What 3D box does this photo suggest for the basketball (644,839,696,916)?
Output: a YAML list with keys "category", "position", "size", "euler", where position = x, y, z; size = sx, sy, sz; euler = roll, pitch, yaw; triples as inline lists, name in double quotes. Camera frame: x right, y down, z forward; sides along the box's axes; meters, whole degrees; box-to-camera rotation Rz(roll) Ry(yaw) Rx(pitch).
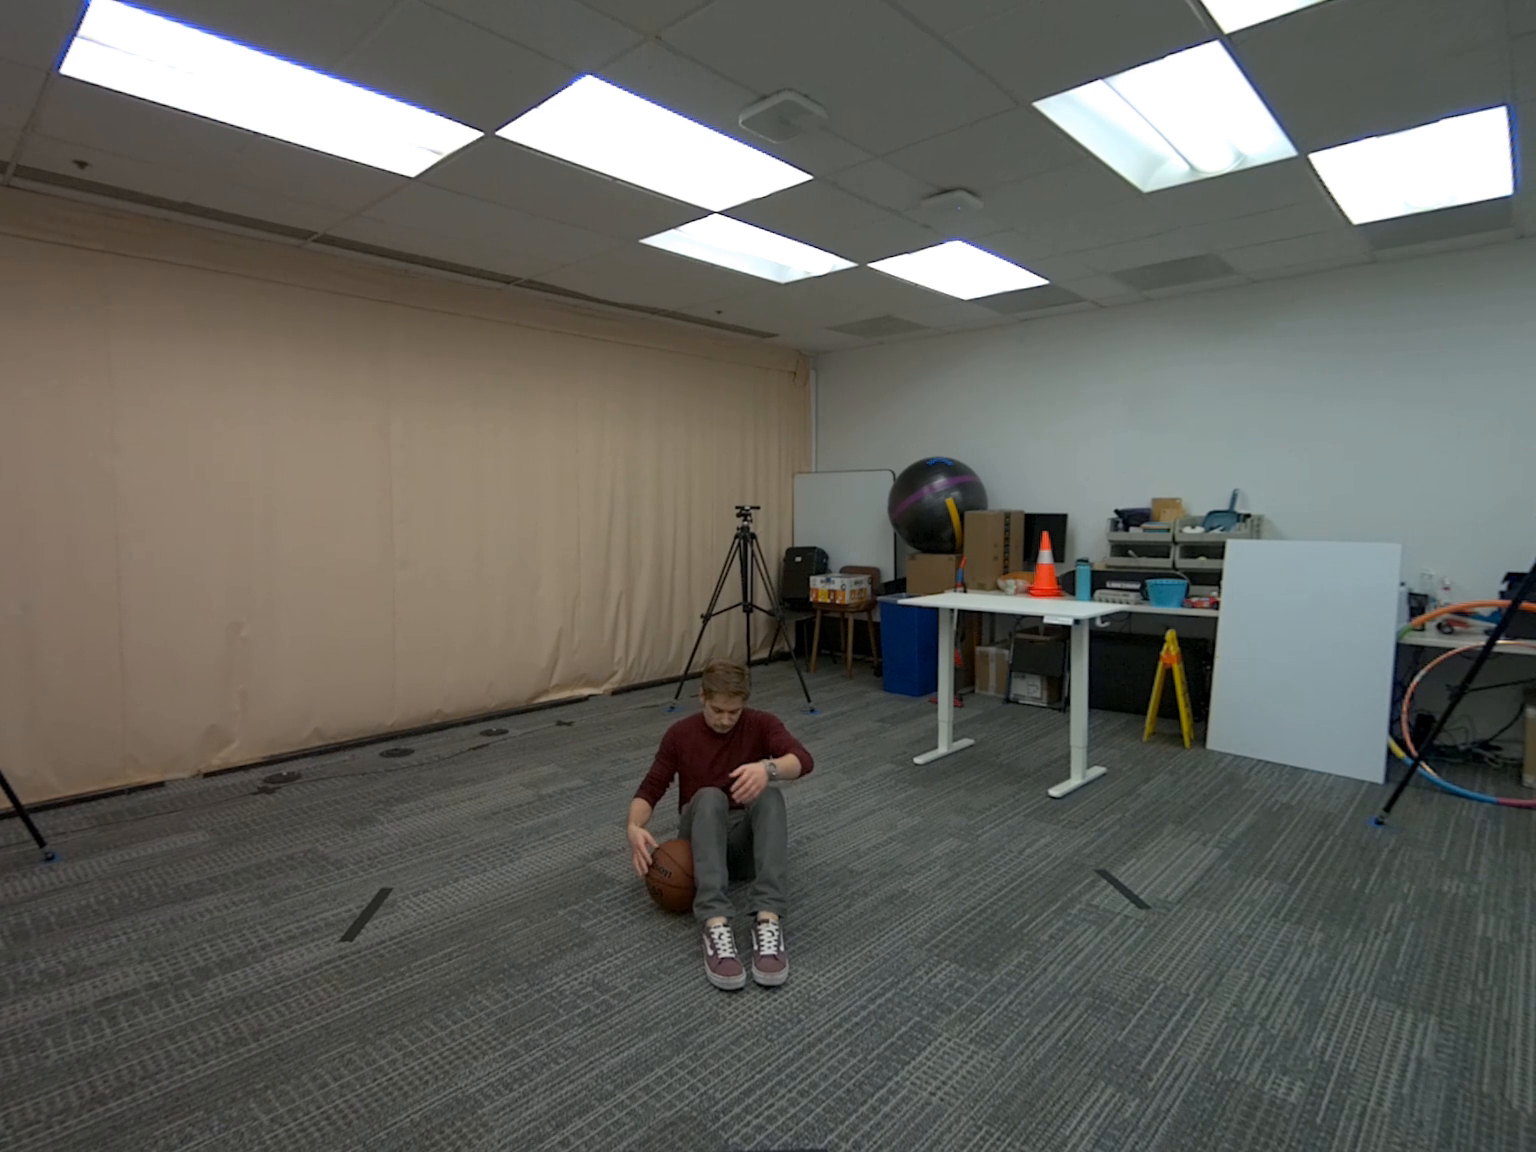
- category: "basketball"
  position: [-0.315, 1.032, 2.919]
  size: [0.236, 0.235, 0.237]
  euler: [0, 4, -2]
